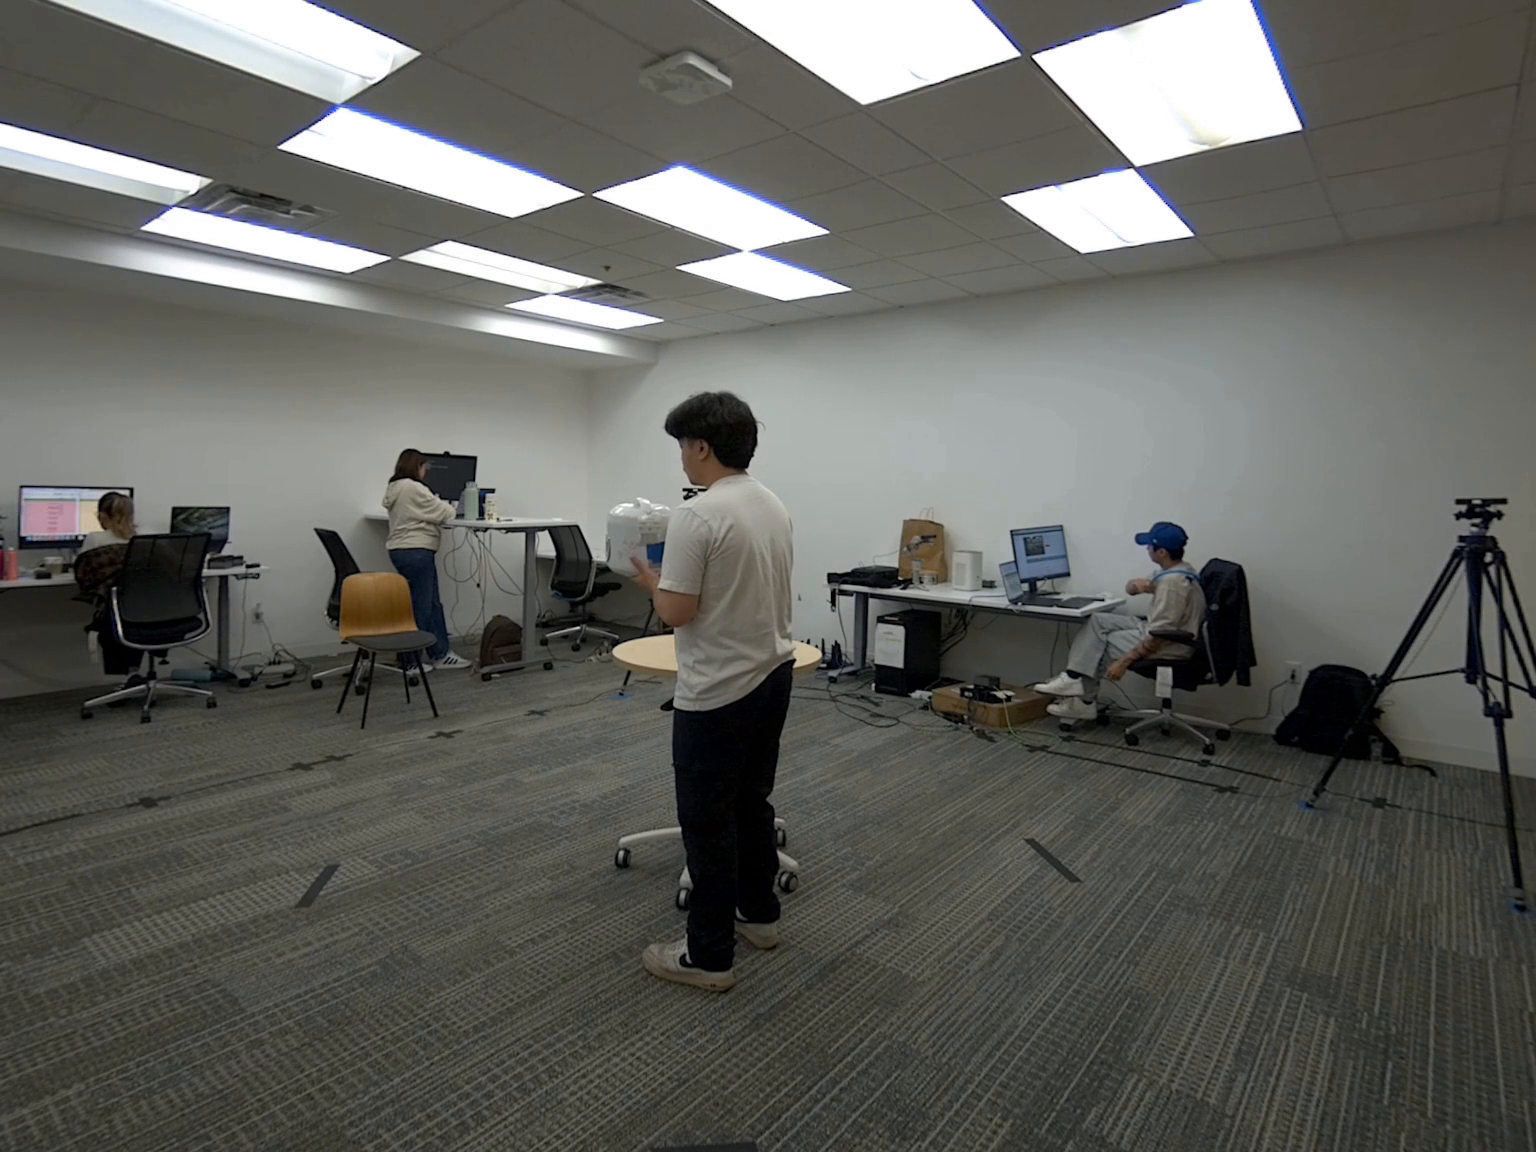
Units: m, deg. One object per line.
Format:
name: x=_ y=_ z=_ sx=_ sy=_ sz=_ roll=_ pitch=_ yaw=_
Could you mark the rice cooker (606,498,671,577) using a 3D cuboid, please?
rice cooker: x=-0.402 y=-0.127 z=2.636 sx=0.213 sy=0.231 sz=0.227 roll=0 pitch=11 yaw=-18
